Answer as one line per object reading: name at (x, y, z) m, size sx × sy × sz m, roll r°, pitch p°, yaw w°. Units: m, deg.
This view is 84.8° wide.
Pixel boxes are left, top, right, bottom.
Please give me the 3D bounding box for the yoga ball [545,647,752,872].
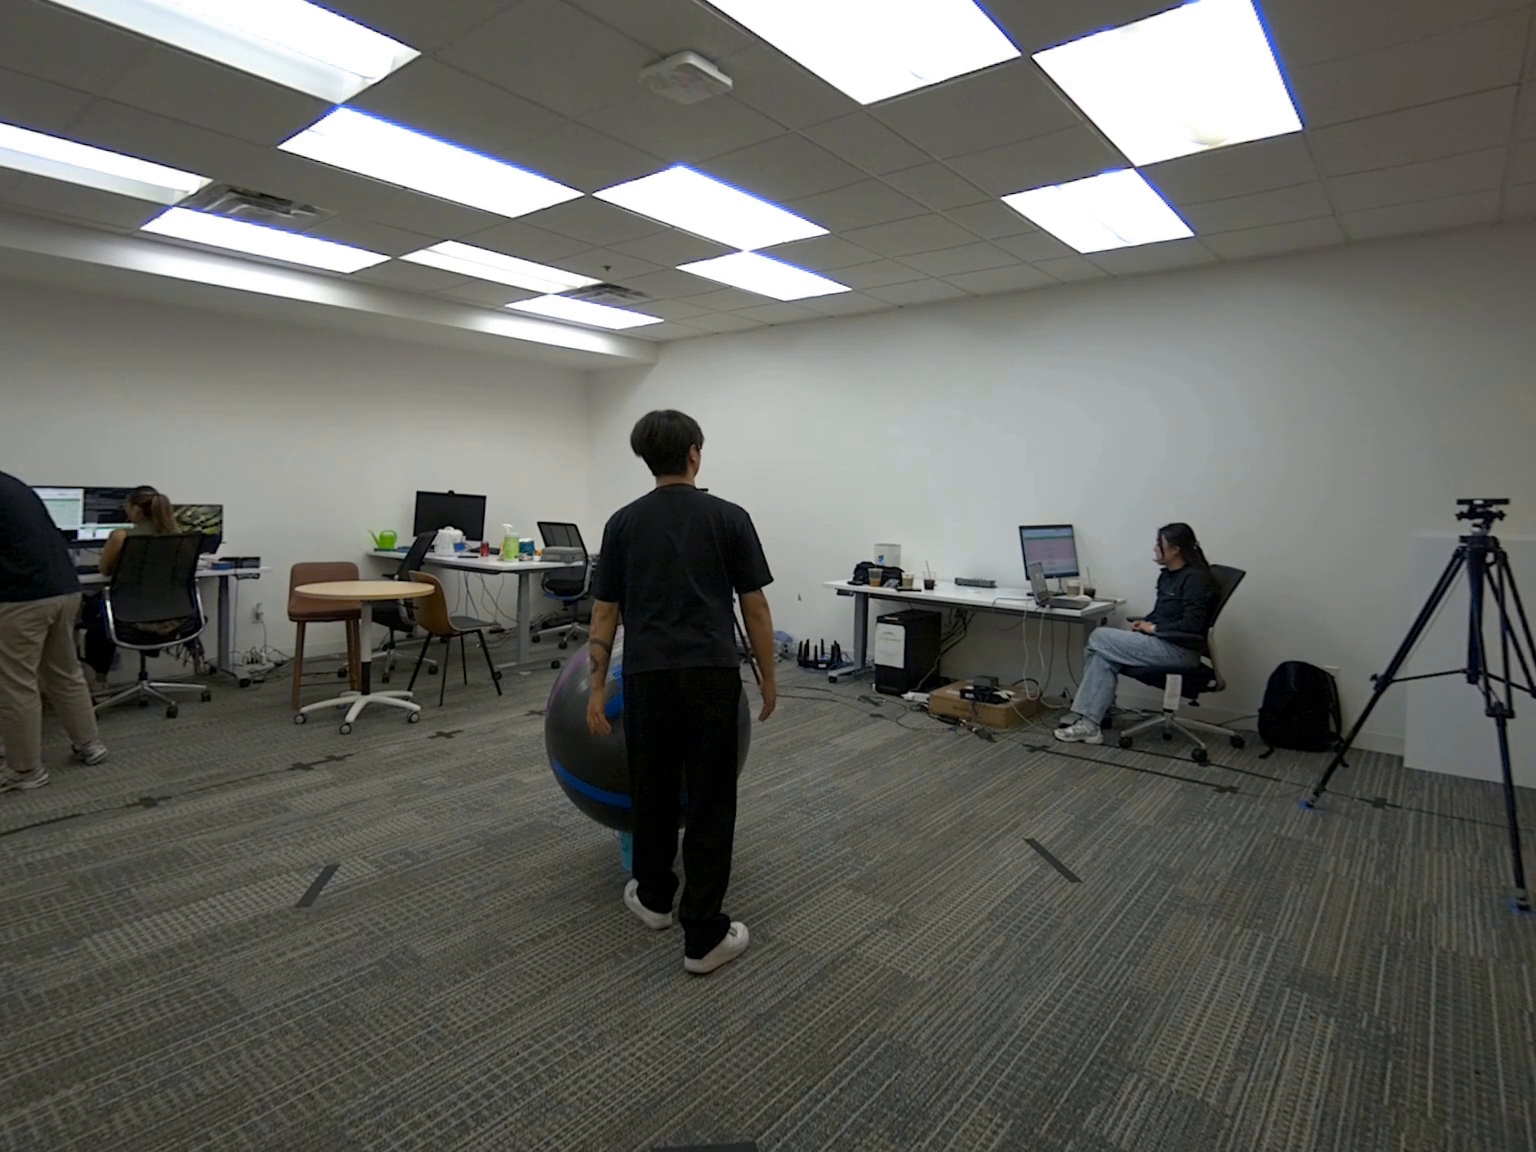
yoga ball at (-0.453, 0.550, 3.138) m, size 0.757 × 0.755 × 0.762 m, roll 1°, pitch 4°, yaw -2°
